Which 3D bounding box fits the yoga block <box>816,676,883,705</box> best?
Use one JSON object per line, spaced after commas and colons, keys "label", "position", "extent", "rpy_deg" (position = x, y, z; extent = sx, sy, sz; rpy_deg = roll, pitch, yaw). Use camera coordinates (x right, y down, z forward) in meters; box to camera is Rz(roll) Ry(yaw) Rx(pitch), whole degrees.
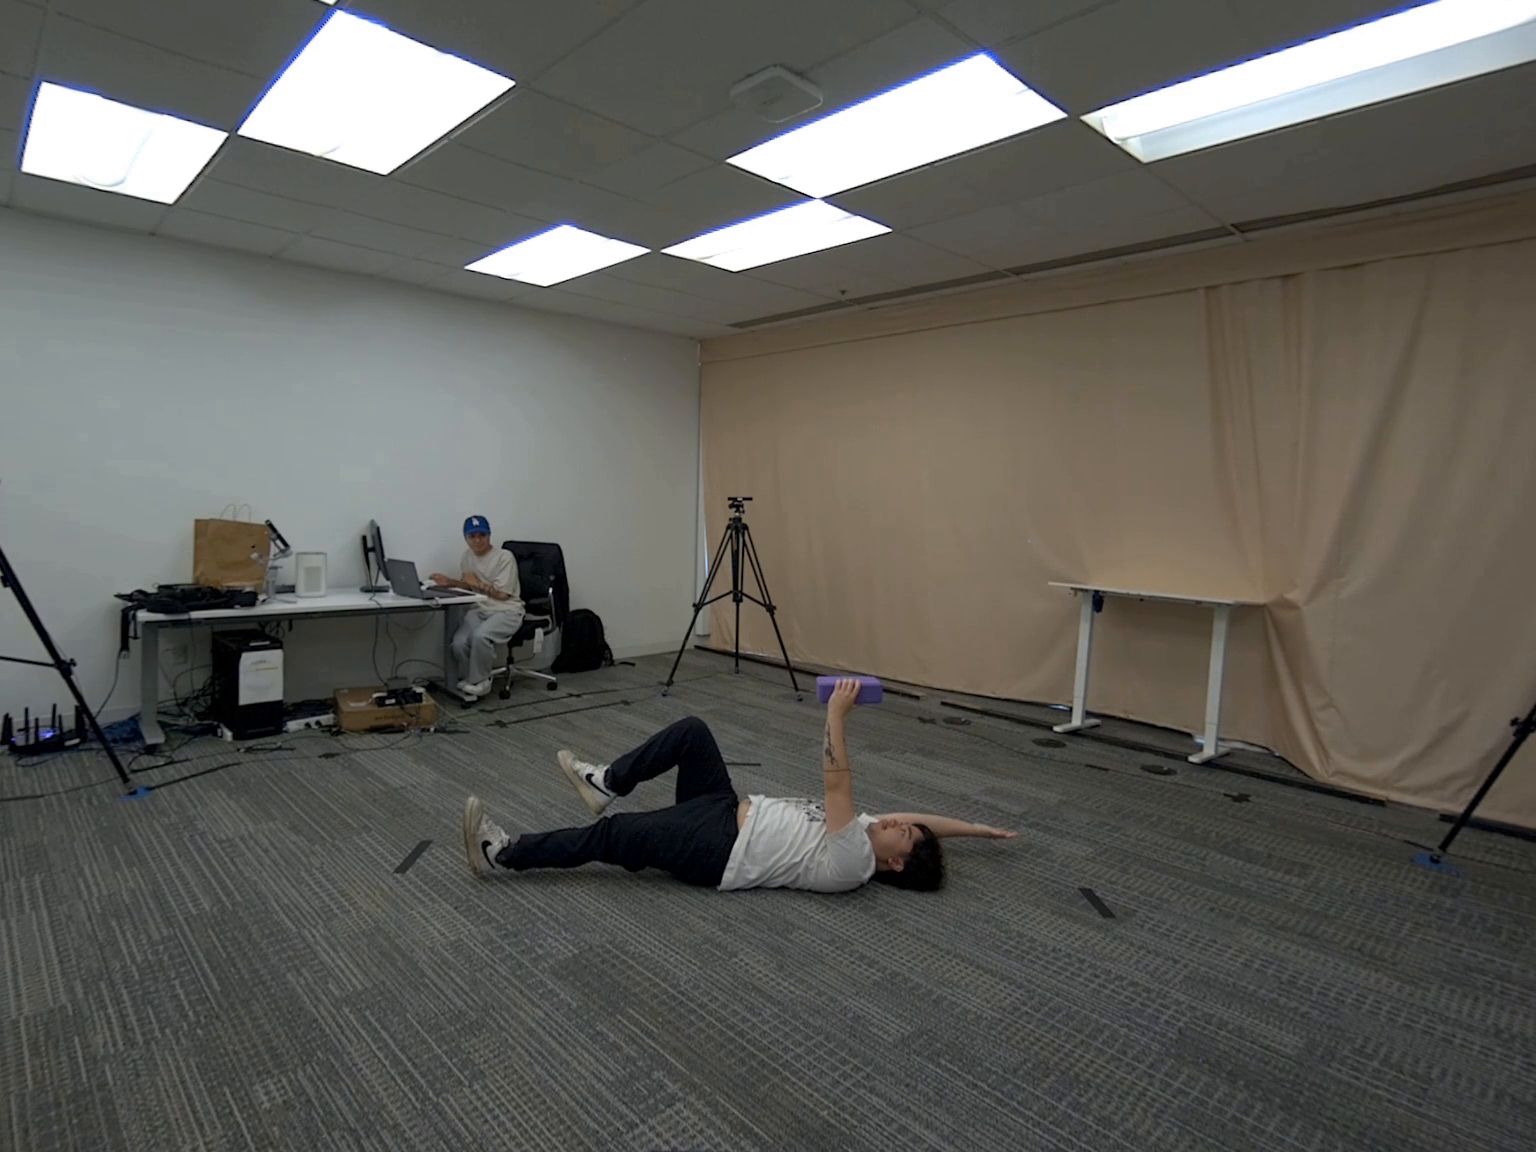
{"label": "yoga block", "position": [0.300, 0.424, 3.115], "extent": [0.229, 0.076, 0.149], "rpy_deg": [-3, 3, 0]}
